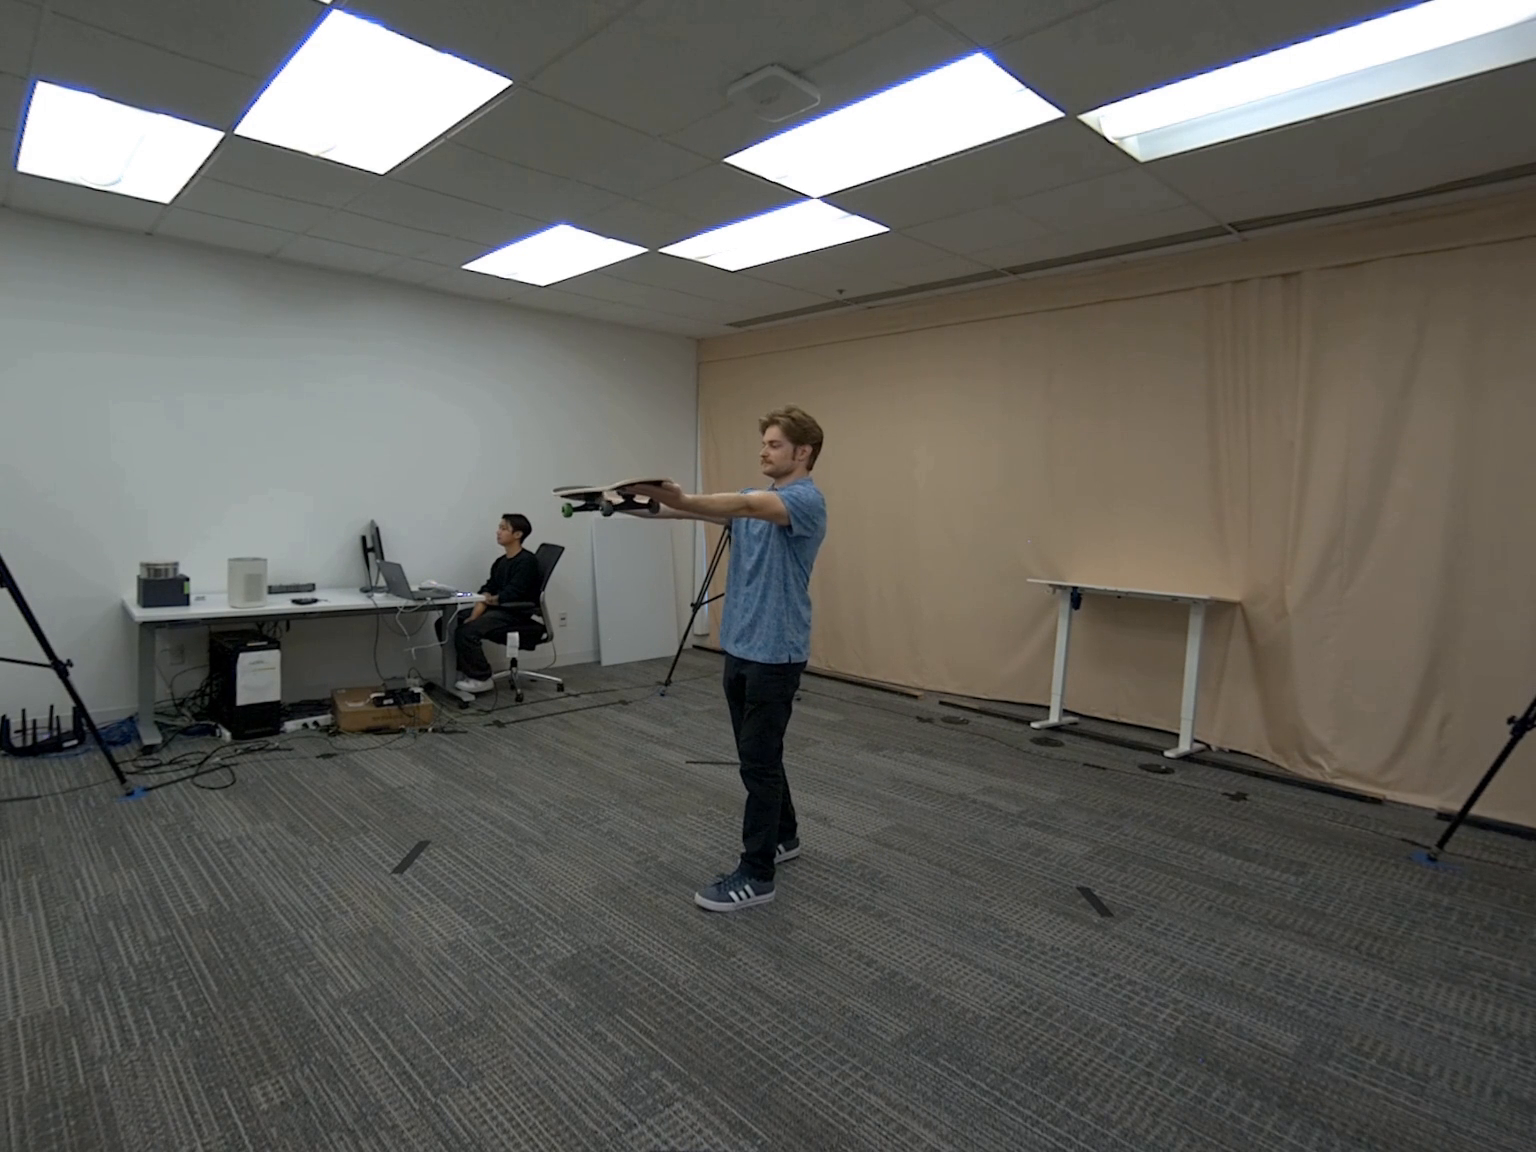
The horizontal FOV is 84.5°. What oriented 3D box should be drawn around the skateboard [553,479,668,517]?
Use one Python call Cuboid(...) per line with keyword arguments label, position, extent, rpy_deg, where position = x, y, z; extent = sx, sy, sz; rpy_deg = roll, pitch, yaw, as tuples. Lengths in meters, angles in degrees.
Cuboid(label="skateboard", position=(-0.515, -0.244, 2.725), extent=(0.189, 0.110, 0.802), rpy_deg=(1, 2, -28))
